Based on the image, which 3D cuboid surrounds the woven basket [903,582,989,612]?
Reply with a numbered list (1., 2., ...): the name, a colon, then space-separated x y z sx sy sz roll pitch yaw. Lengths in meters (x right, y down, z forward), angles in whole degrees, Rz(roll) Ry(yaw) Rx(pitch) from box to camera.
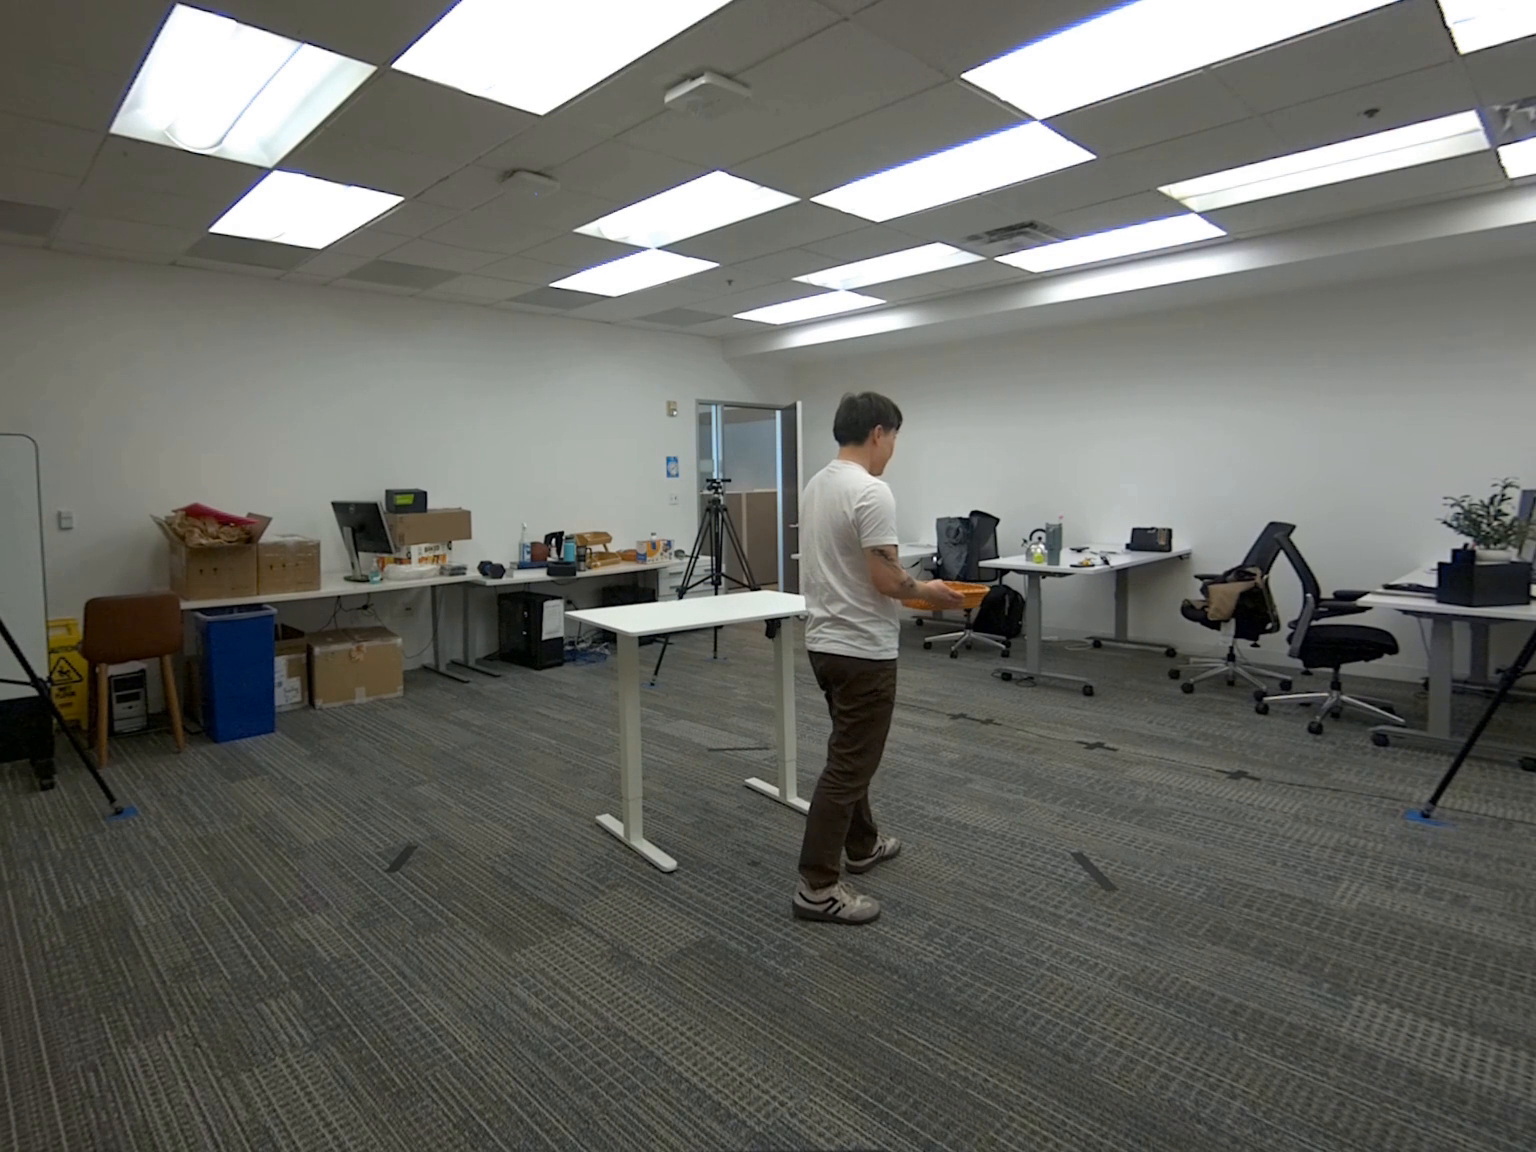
1. woven basket: 0.596 0.073 2.947 0.343 0.073 0.258 0 5 -22
